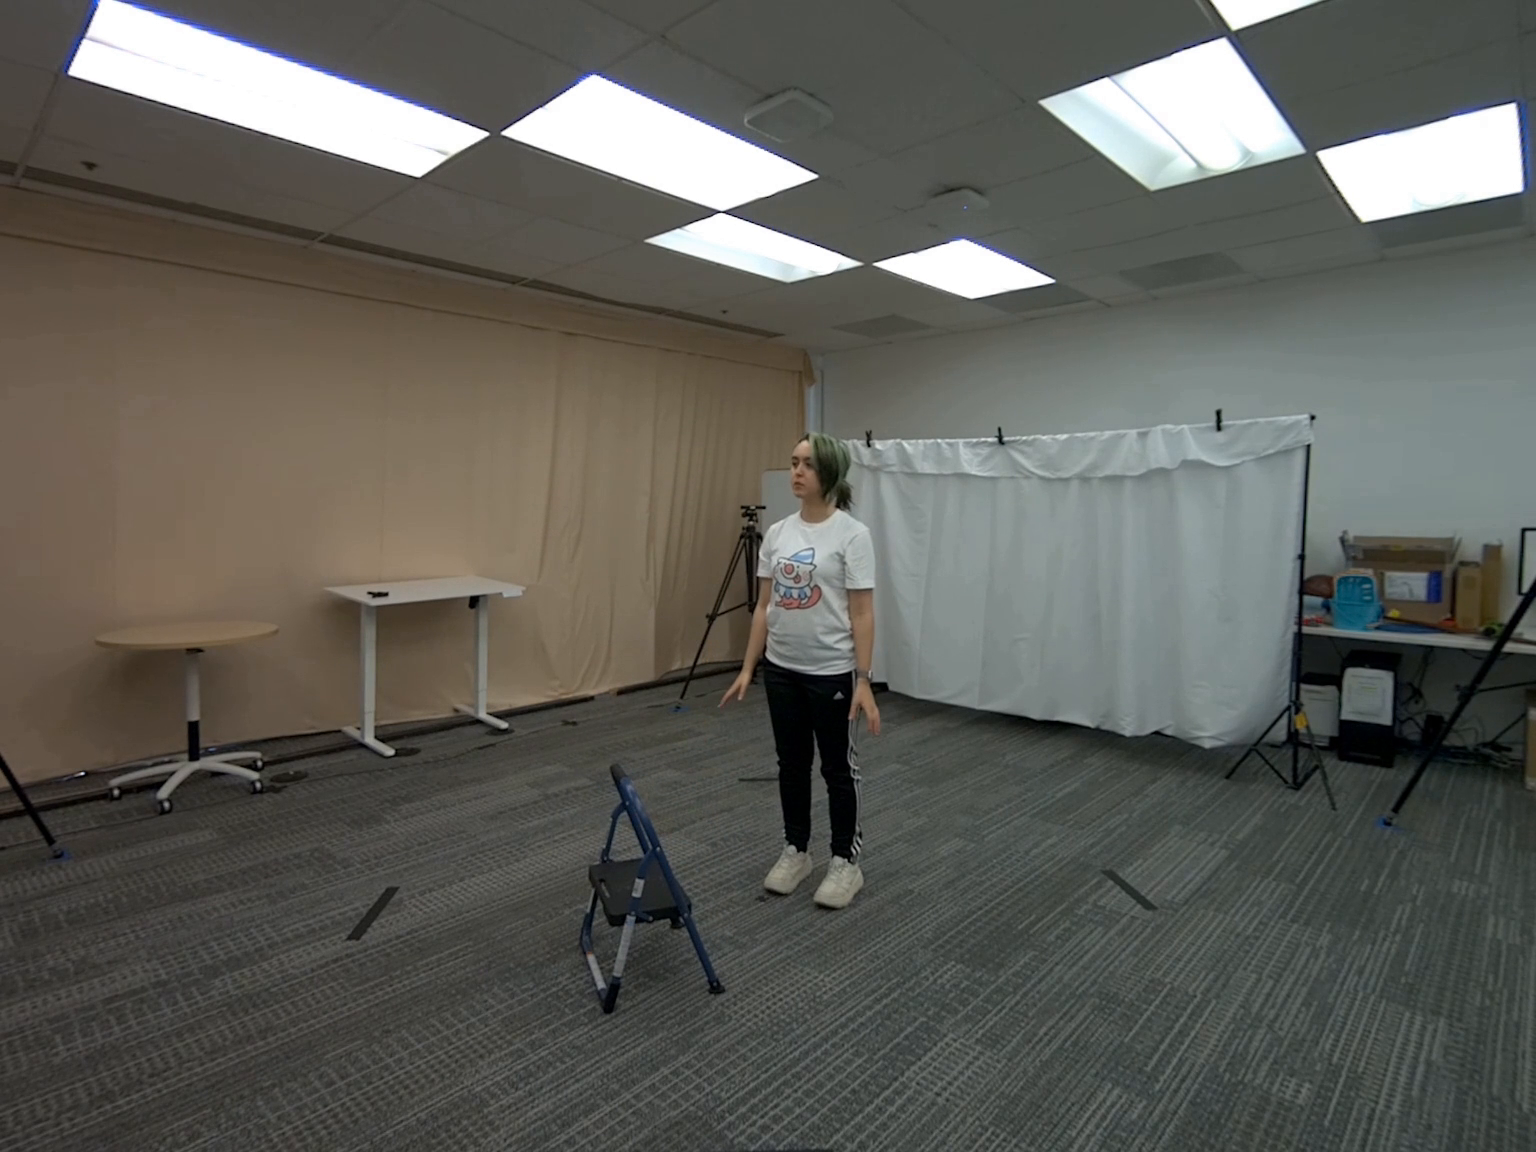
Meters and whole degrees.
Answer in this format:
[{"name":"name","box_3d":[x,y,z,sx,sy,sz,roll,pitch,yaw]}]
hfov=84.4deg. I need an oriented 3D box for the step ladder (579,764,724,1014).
[{"name":"step ladder","box_3d":[-0.368,0.881,2.536,0.342,0.605,0.441,-2,4,-22]}]
